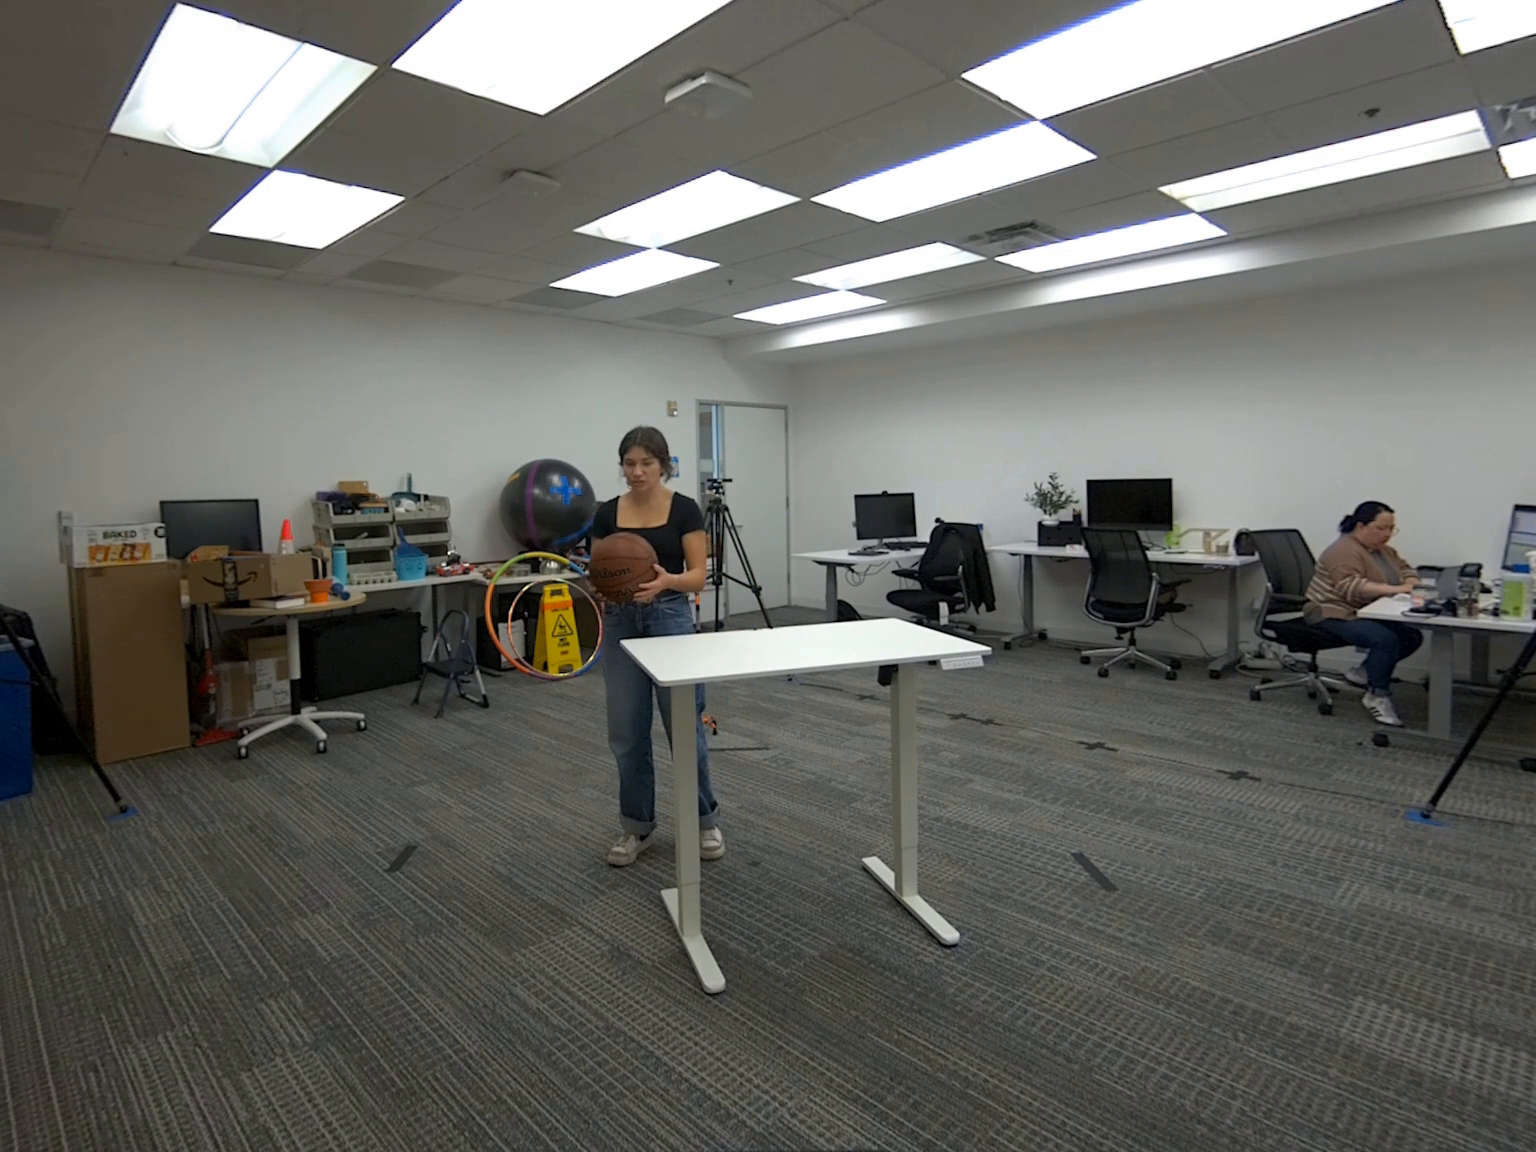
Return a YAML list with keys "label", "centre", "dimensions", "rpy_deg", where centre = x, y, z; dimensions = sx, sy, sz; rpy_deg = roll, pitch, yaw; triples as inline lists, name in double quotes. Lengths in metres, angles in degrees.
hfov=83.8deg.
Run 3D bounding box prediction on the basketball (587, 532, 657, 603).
- label: "basketball"
  centre: [-0.502, -0.024, 2.923]
  dimensions: [0.236, 0.235, 0.237]
  rpy_deg: [-1, 5, -2]
